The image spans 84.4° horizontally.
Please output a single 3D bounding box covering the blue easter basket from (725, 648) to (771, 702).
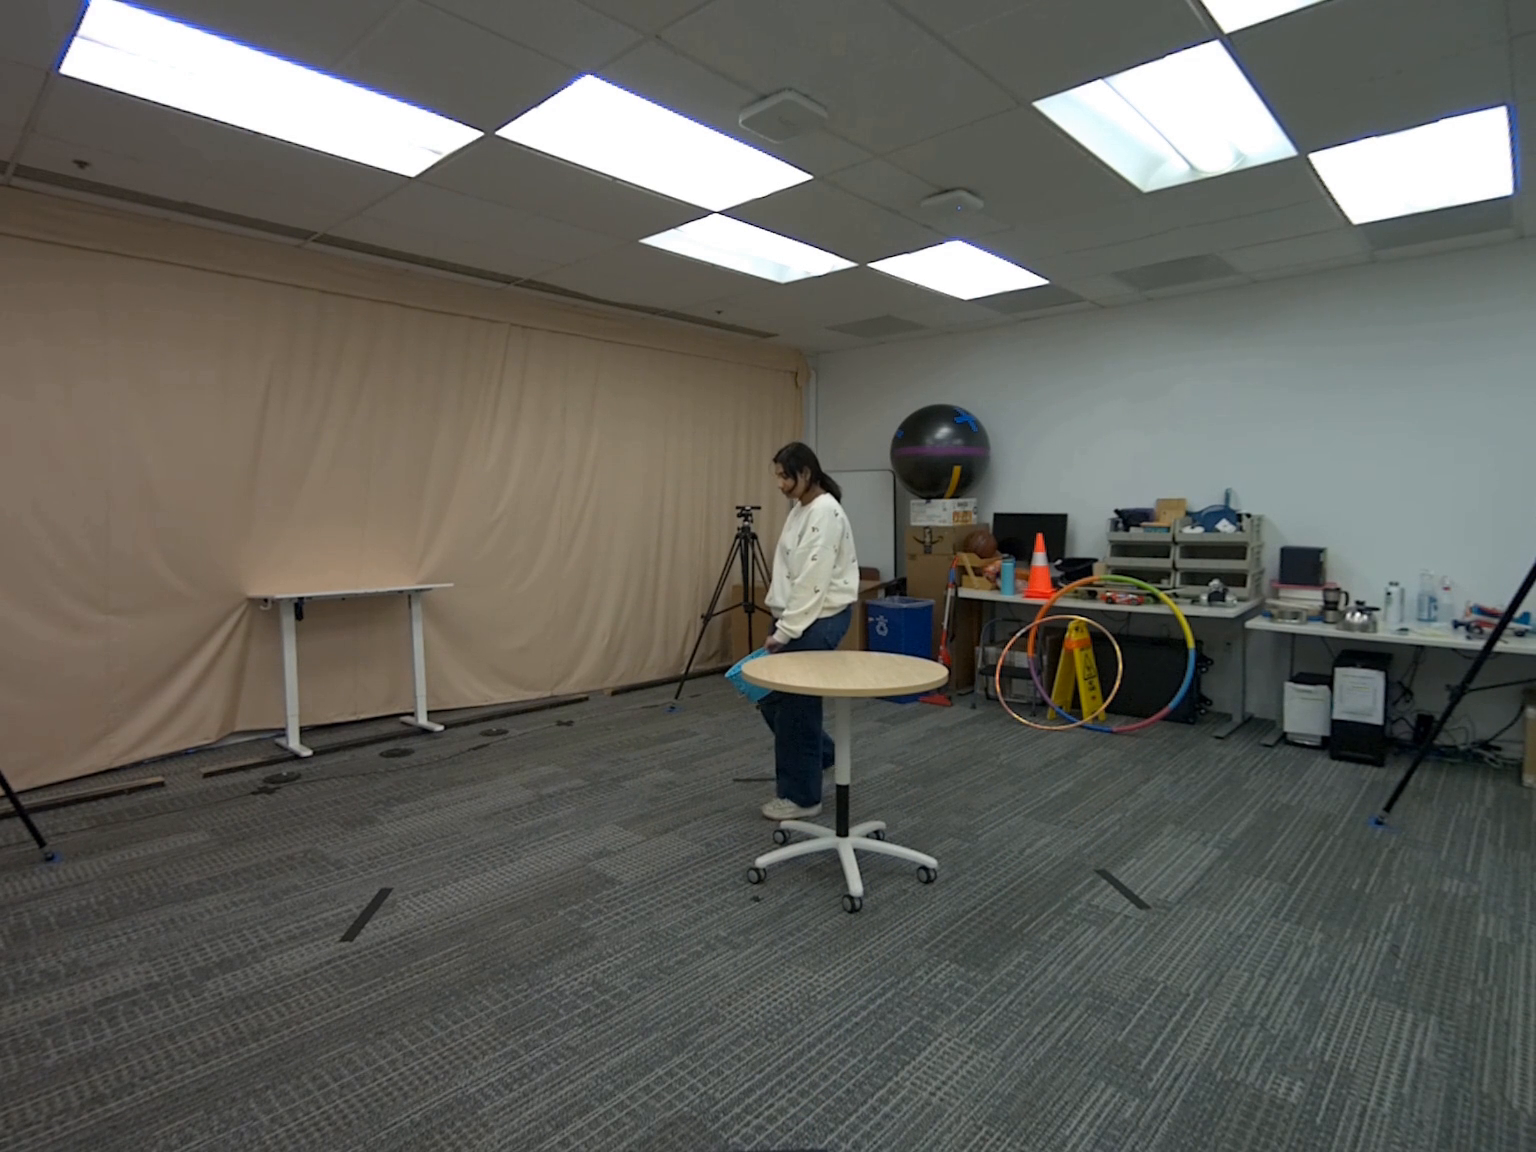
[{"bbox_3d":[-0.048,0.433,3.672,0.243,0.155,0.244,-32,4,0],"label":"blue easter basket"}]
